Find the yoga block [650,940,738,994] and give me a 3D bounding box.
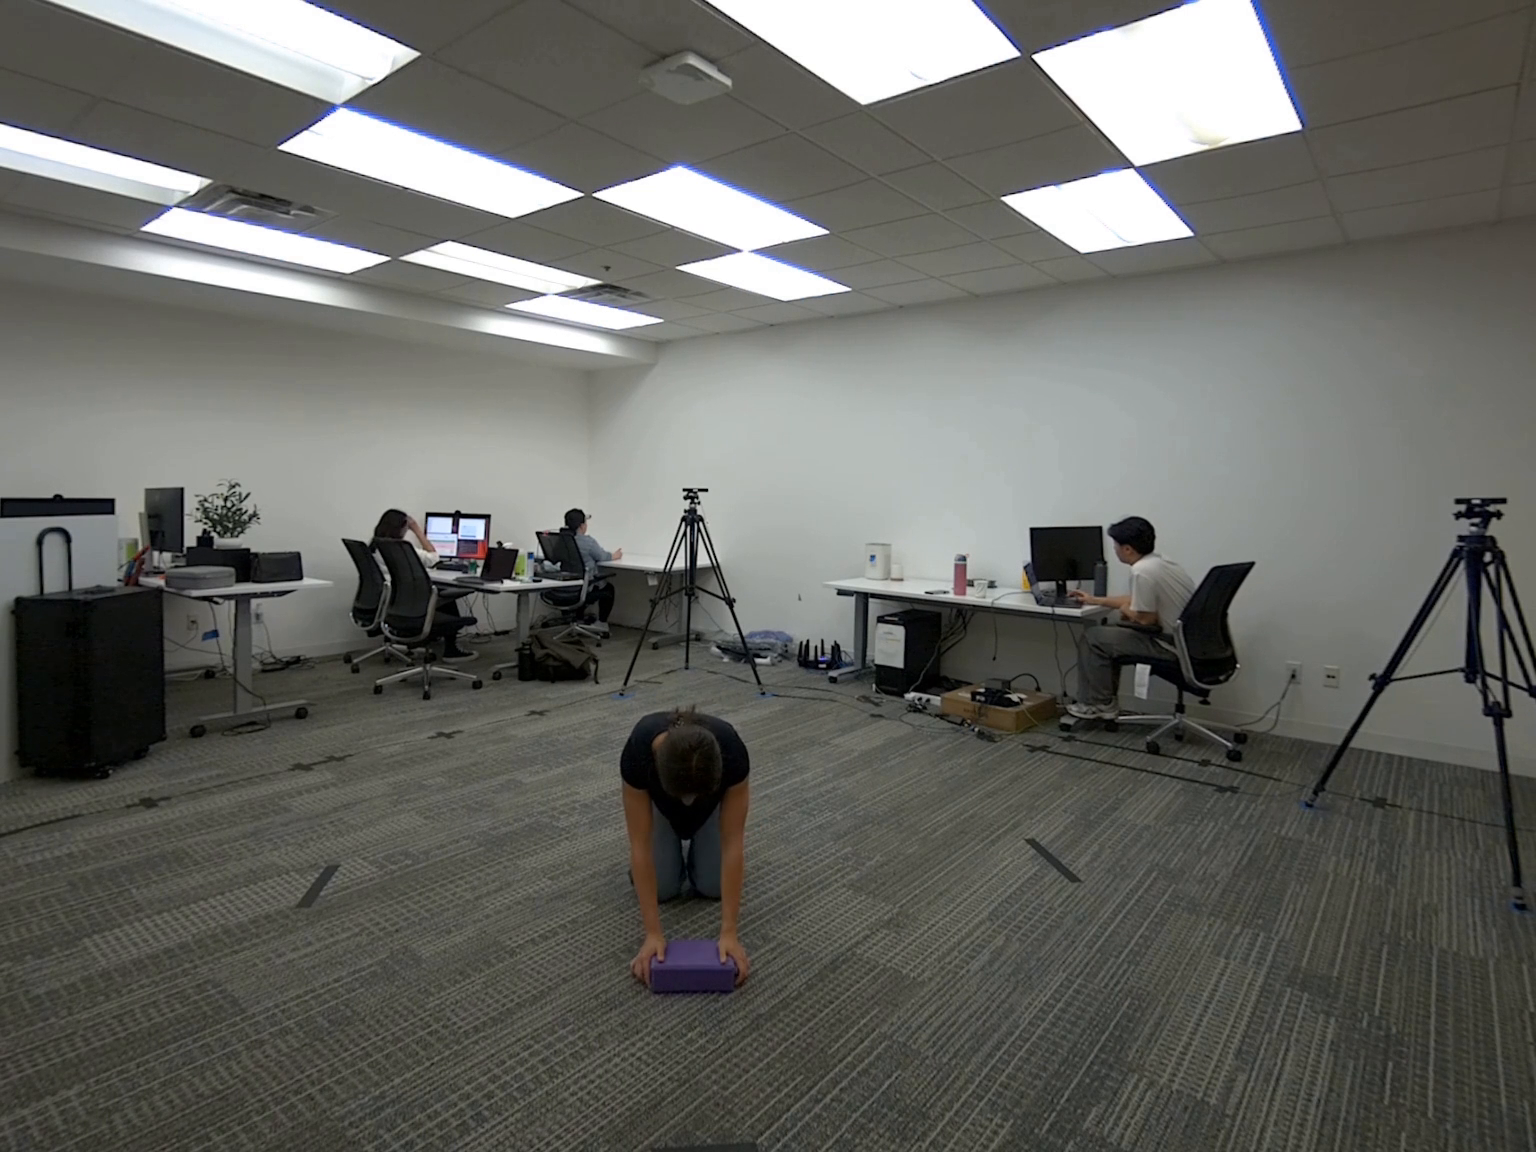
[{"bbox_3d":[-0.217,1.098,2.411,0.228,0.076,0.150,1,4,-4],"label":"yoga block"}]
